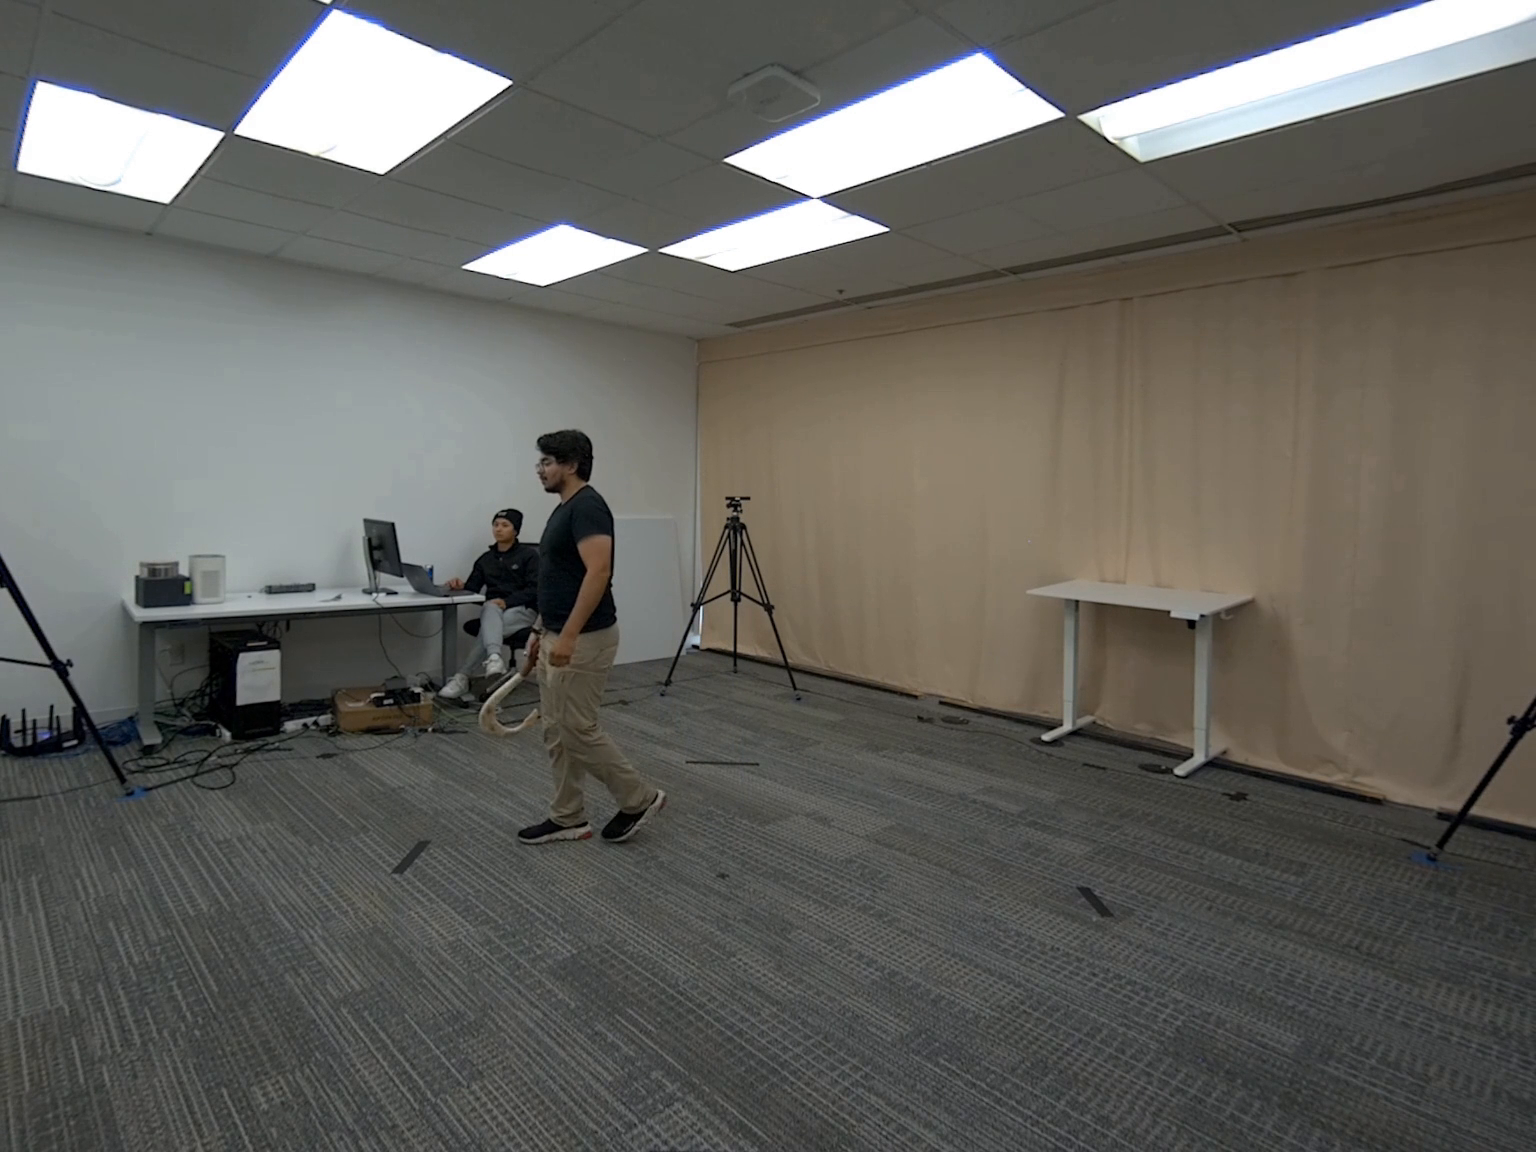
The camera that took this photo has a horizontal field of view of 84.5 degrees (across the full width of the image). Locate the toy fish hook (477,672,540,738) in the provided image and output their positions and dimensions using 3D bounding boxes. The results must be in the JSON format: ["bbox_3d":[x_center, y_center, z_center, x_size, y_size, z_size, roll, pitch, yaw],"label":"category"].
[{"bbox_3d":[-1.049,0.487,3.628,0.219,0.506,0.049,31,8,-23],"label":"toy fish hook"}]
